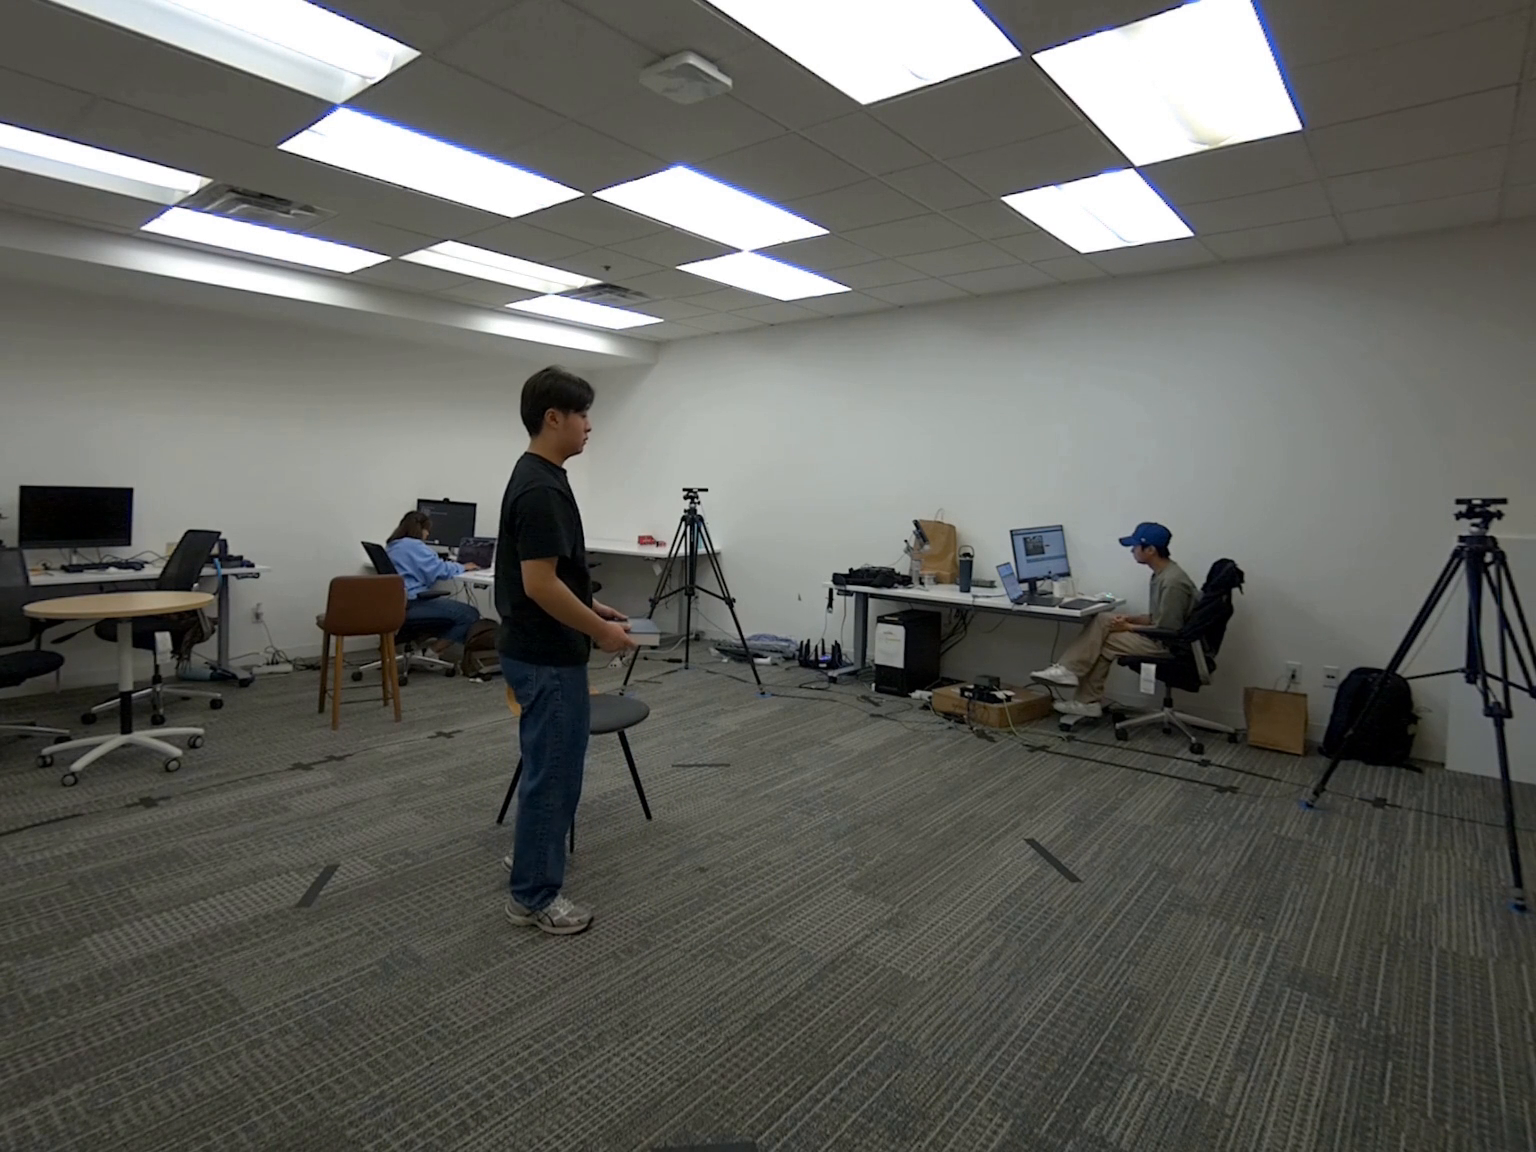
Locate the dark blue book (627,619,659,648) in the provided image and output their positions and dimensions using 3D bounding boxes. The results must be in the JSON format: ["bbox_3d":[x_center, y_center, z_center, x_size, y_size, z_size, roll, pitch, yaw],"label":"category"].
[{"bbox_3d":[-0.460,0.185,2.769,0.161,0.045,0.250,2,6,-14],"label":"dark blue book"}]
